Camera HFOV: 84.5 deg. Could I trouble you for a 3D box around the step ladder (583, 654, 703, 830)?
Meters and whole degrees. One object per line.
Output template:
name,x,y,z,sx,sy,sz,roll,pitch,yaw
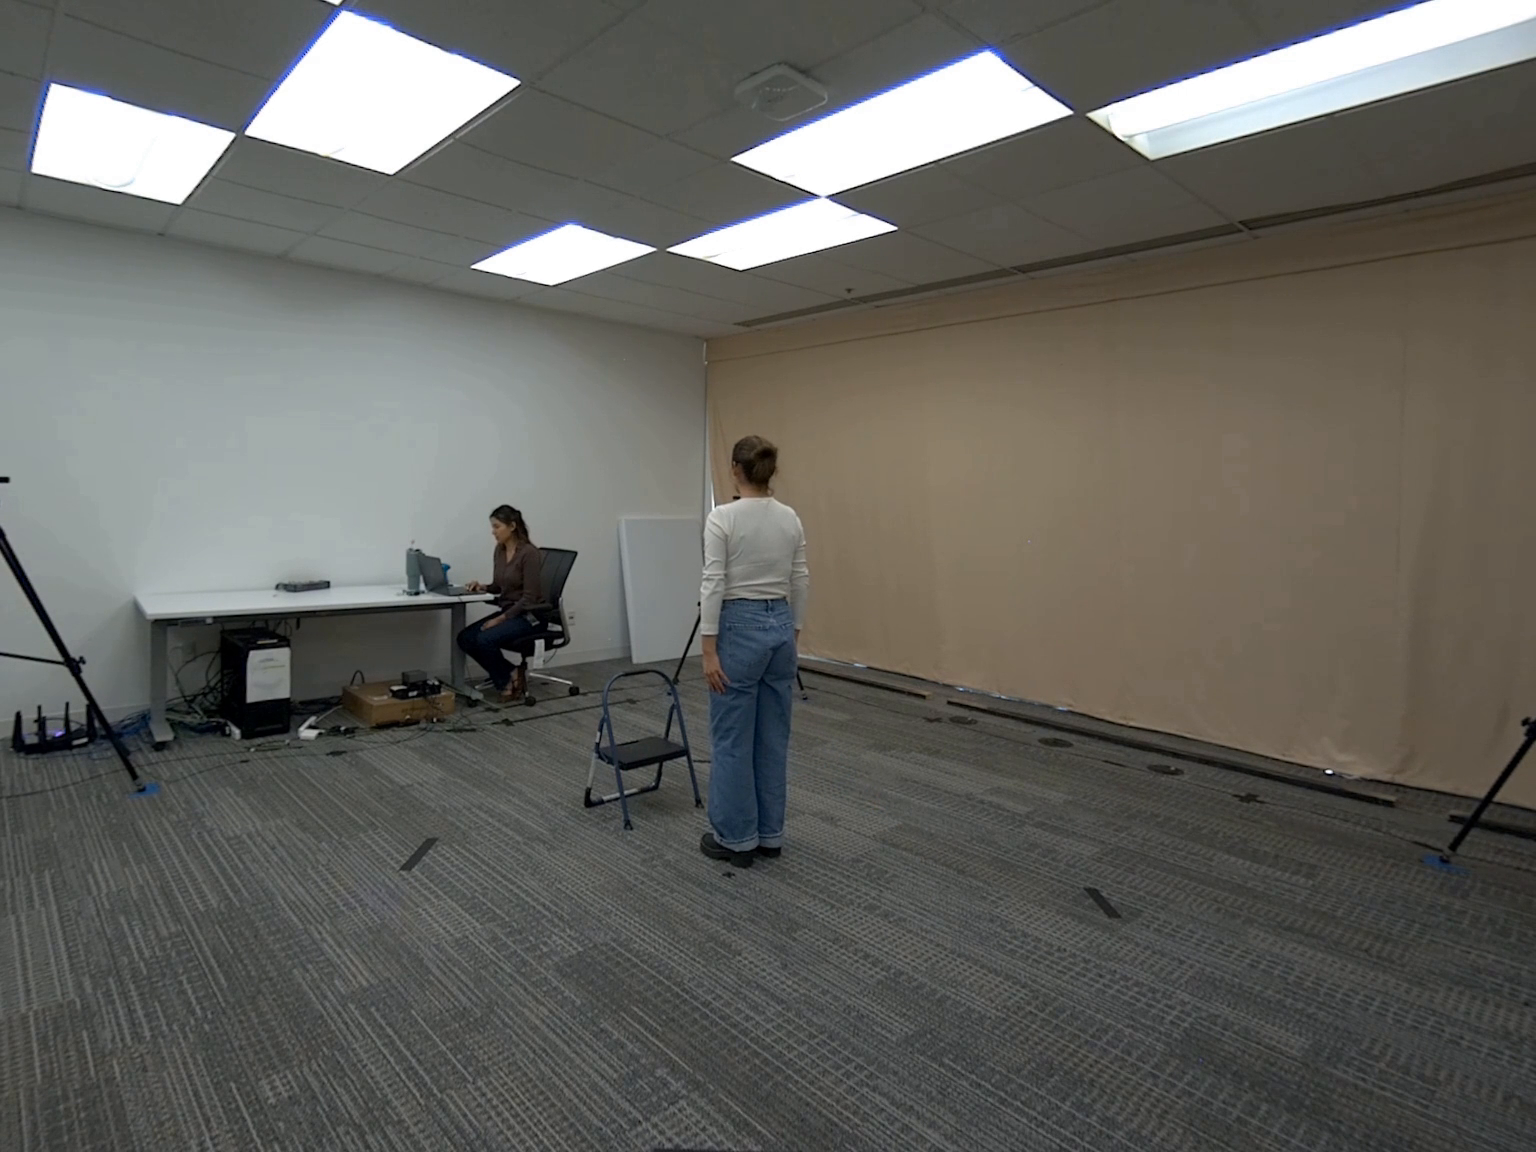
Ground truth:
step ladder,-0.555,0.733,3.753,0.358,0.605,0.420,5,4,45
